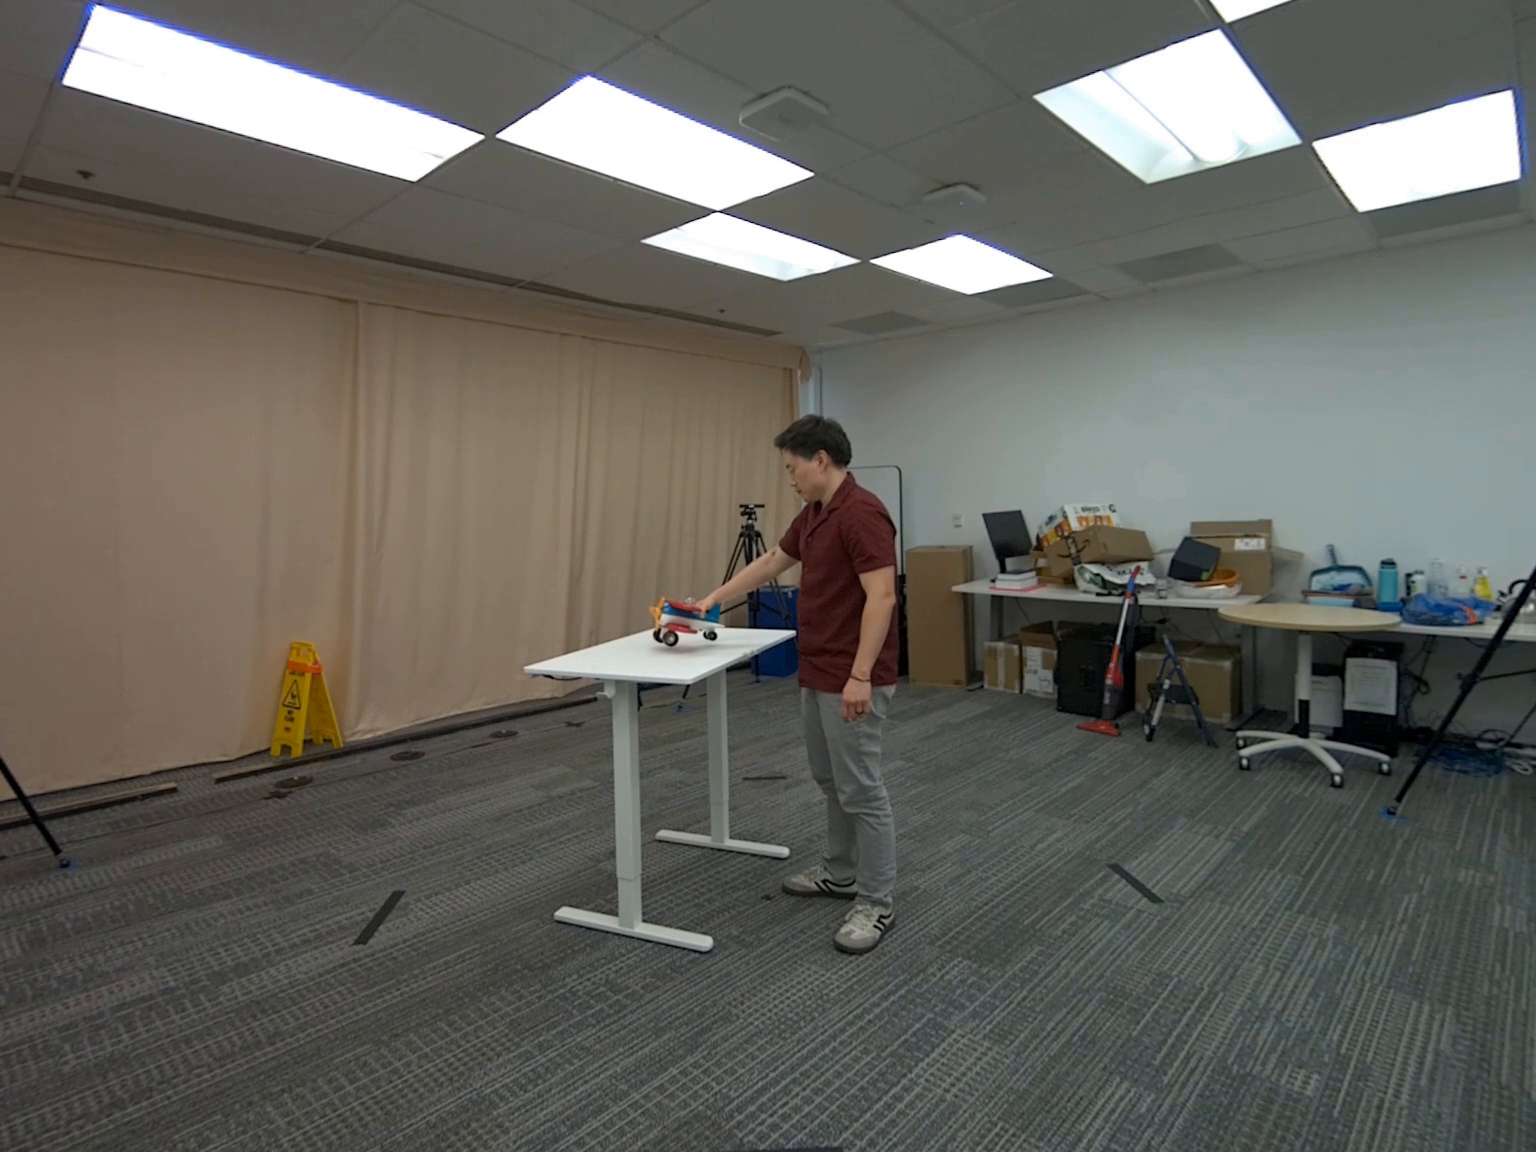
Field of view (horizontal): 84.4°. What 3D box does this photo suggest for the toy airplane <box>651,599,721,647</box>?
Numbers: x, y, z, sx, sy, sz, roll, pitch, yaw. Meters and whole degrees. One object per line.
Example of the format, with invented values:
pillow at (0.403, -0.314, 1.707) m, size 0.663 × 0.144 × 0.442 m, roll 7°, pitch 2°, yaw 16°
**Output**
toy airplane at (-0.301, 0.159, 3.007) m, size 0.259 × 0.156 × 0.252 m, roll 3°, pitch 6°, yaw 34°
